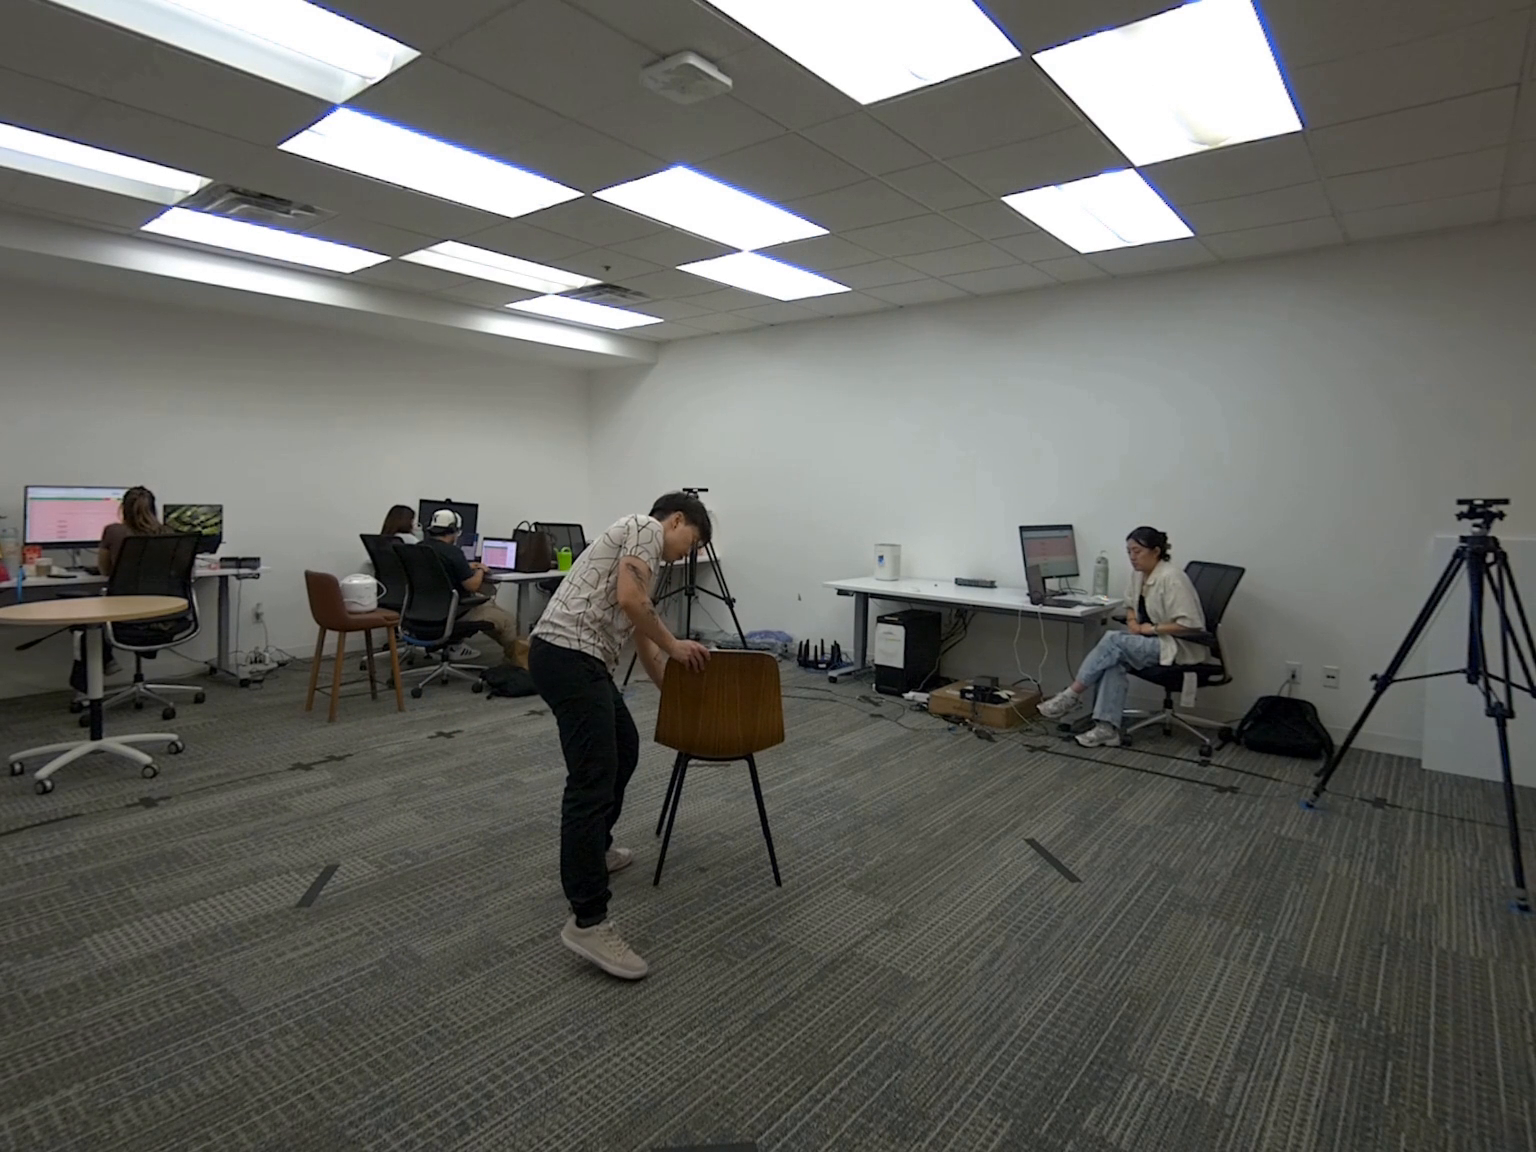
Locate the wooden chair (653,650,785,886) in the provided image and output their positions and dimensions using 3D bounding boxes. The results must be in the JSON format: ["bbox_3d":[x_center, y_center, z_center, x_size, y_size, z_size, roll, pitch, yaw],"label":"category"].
[{"bbox_3d":[-0.204,0.635,3.176,0.475,0.871,0.530,0,8,-7],"label":"wooden chair"}]
